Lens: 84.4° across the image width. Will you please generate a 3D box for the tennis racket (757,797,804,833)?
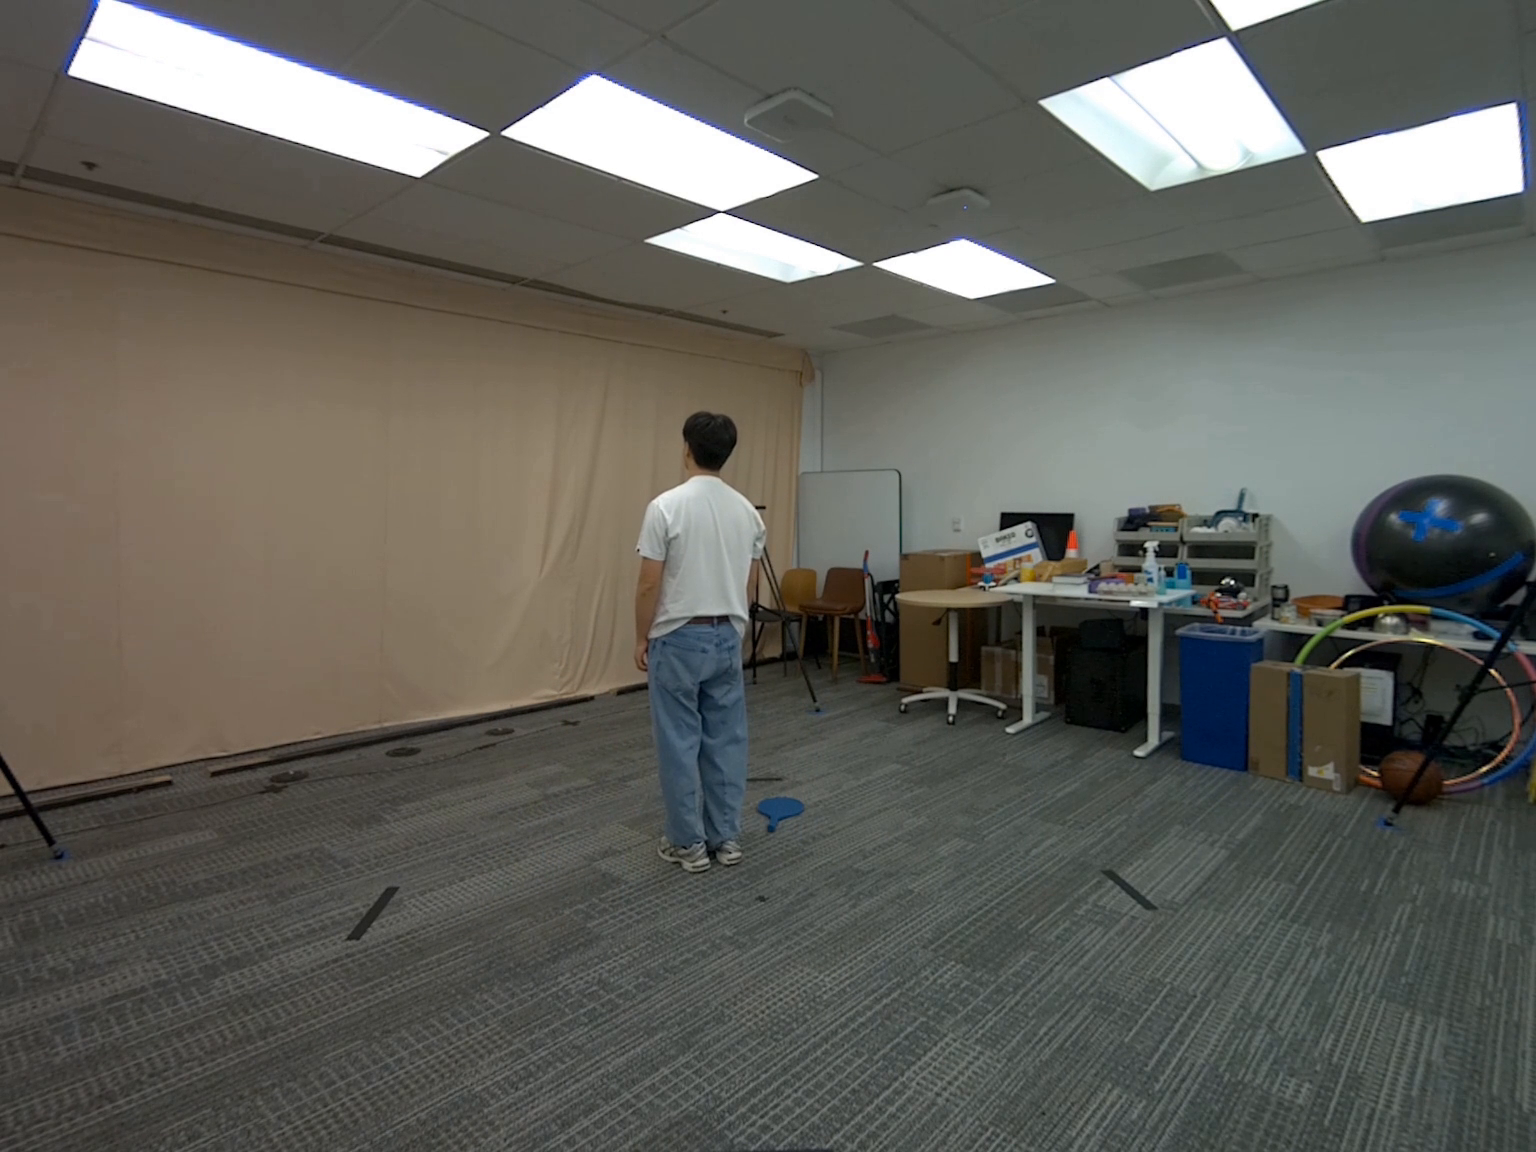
[{"bbox_3d":[0.041,1.063,3.788,0.217,0.032,0.427,0,3,11],"label":"tennis racket"}]
